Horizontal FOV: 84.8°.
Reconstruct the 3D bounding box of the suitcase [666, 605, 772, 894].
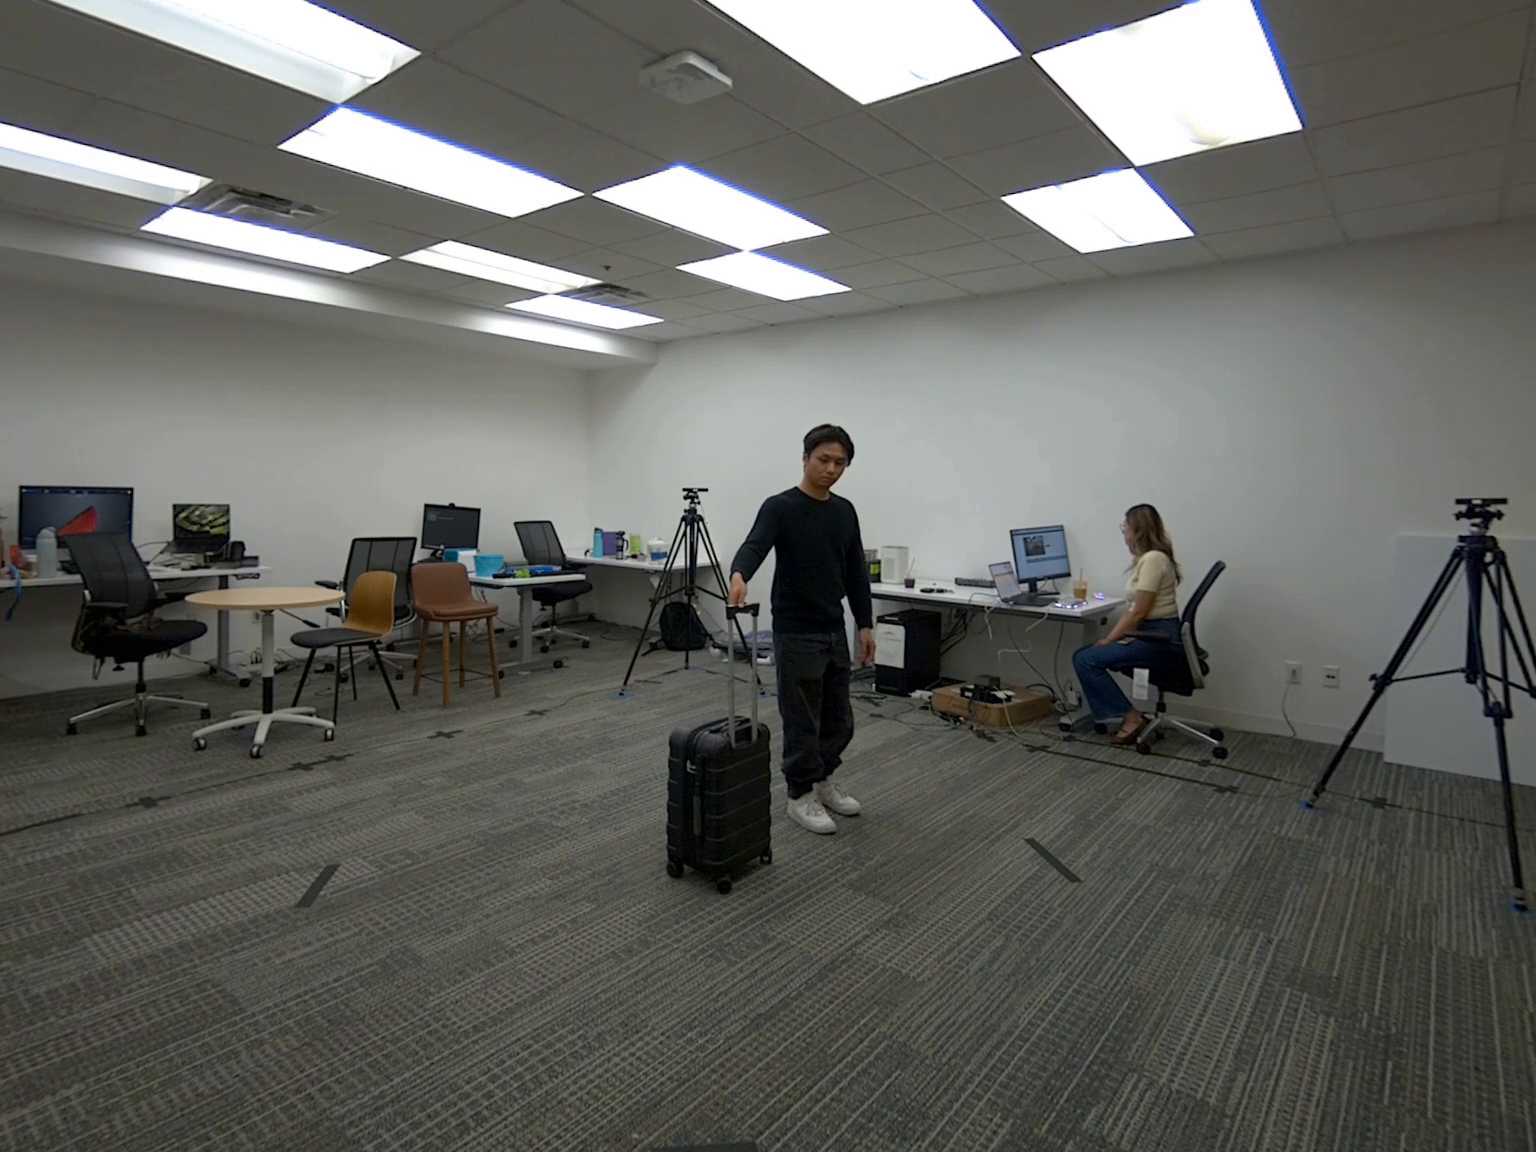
[{"bbox_3d":[-0.189,0.594,3.099,0.265,0.978,0.373,0,1,34],"label":"suitcase"}]
